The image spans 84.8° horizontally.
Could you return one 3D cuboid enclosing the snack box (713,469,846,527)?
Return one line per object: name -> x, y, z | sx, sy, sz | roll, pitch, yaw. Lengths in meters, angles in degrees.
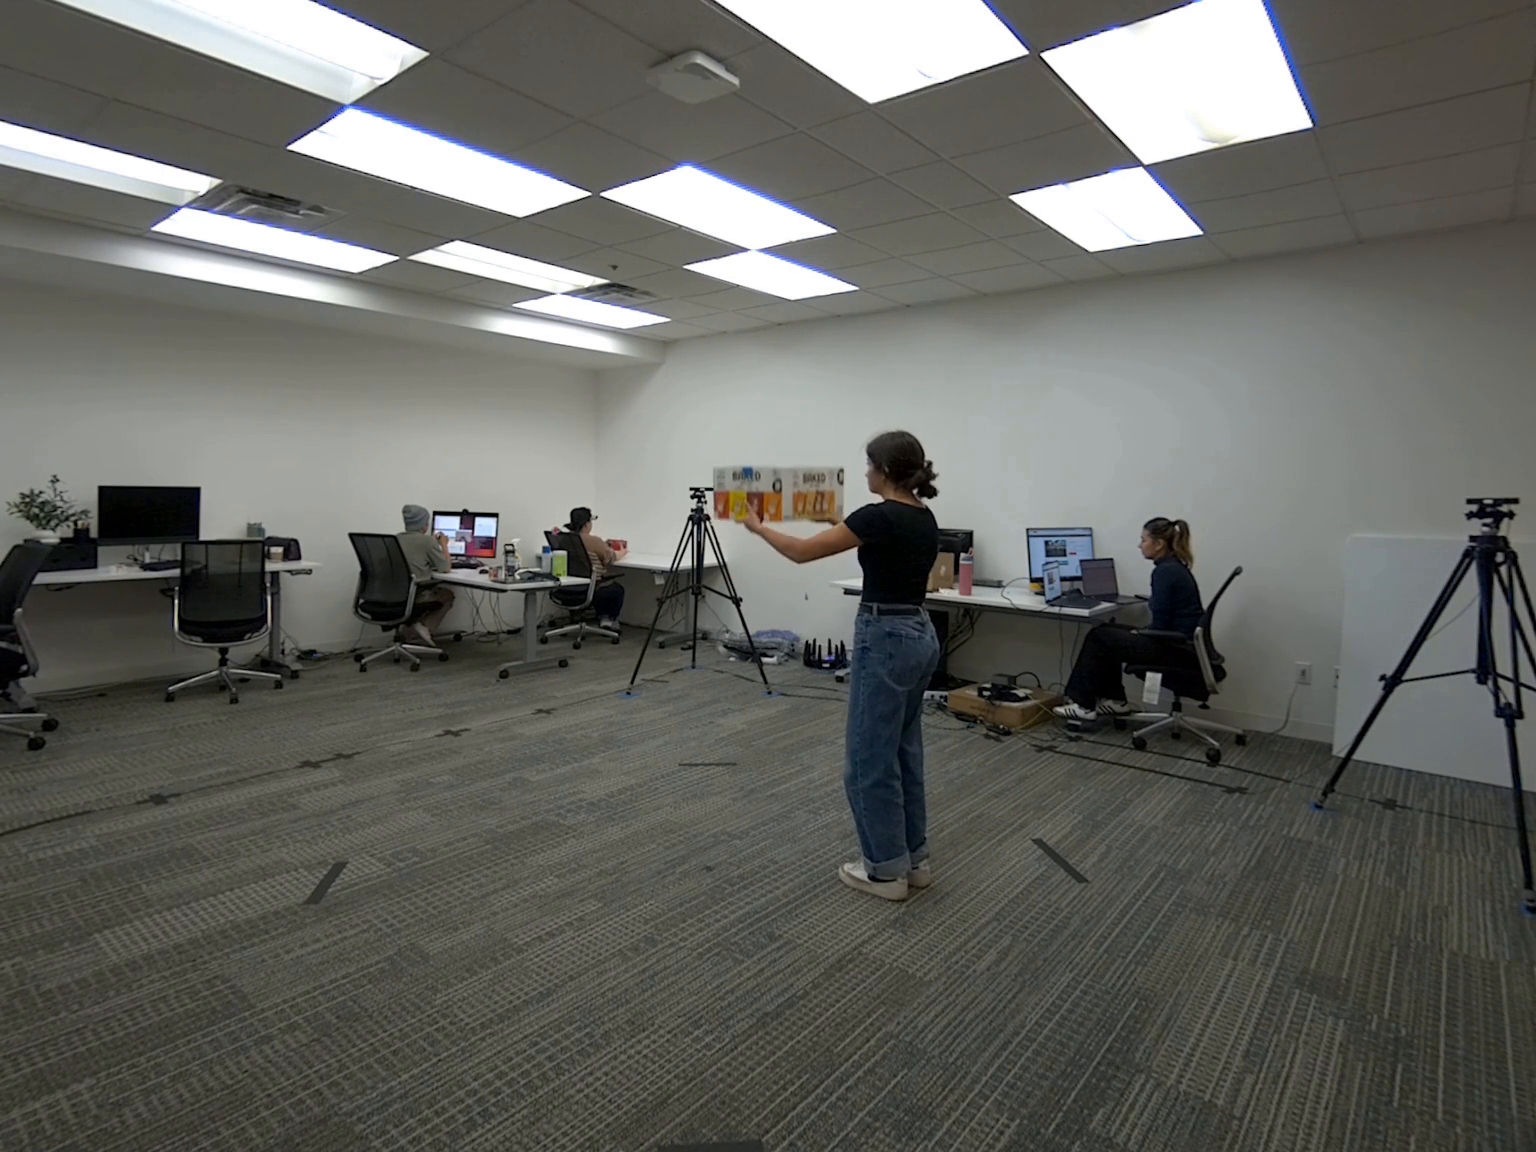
snack box -> 0.047, -0.316, 3.314 | 0.352, 0.204, 0.394 | 5, 8, 39
